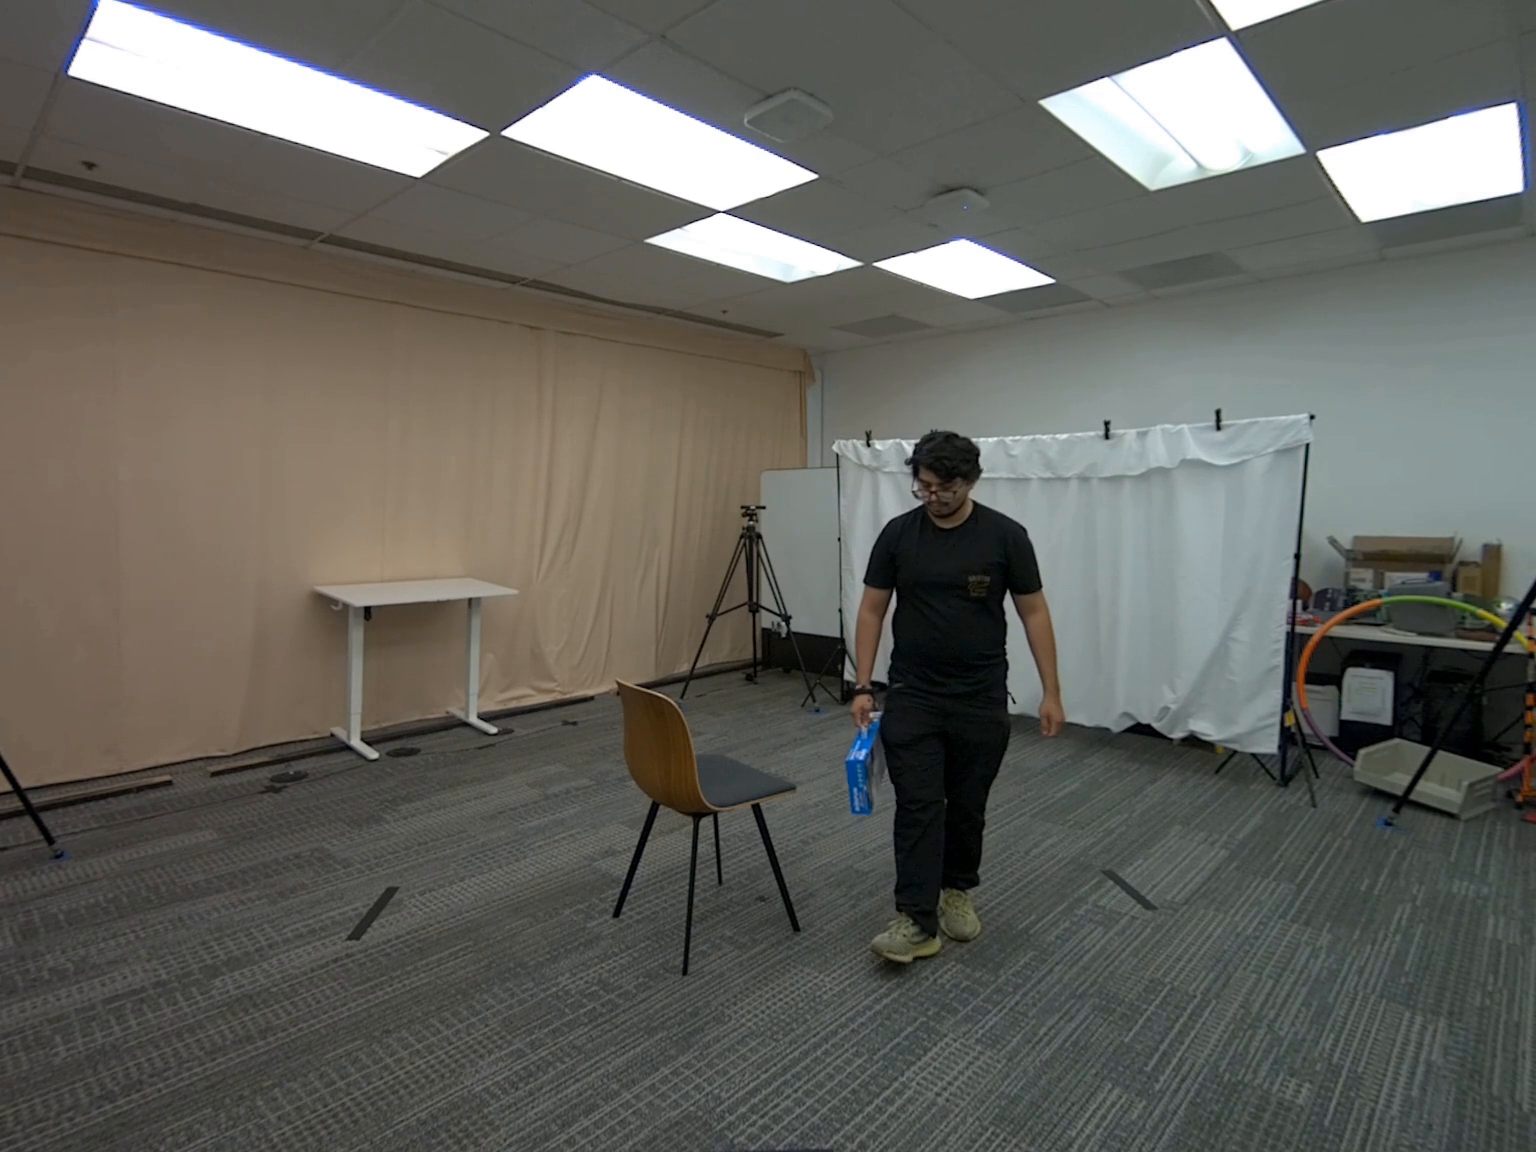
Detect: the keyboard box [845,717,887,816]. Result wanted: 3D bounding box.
[{"bbox_3d":[0.329,0.597,2.716,0.060,0.175,0.432,-6,9,16],"label":"keyboard box"}]
